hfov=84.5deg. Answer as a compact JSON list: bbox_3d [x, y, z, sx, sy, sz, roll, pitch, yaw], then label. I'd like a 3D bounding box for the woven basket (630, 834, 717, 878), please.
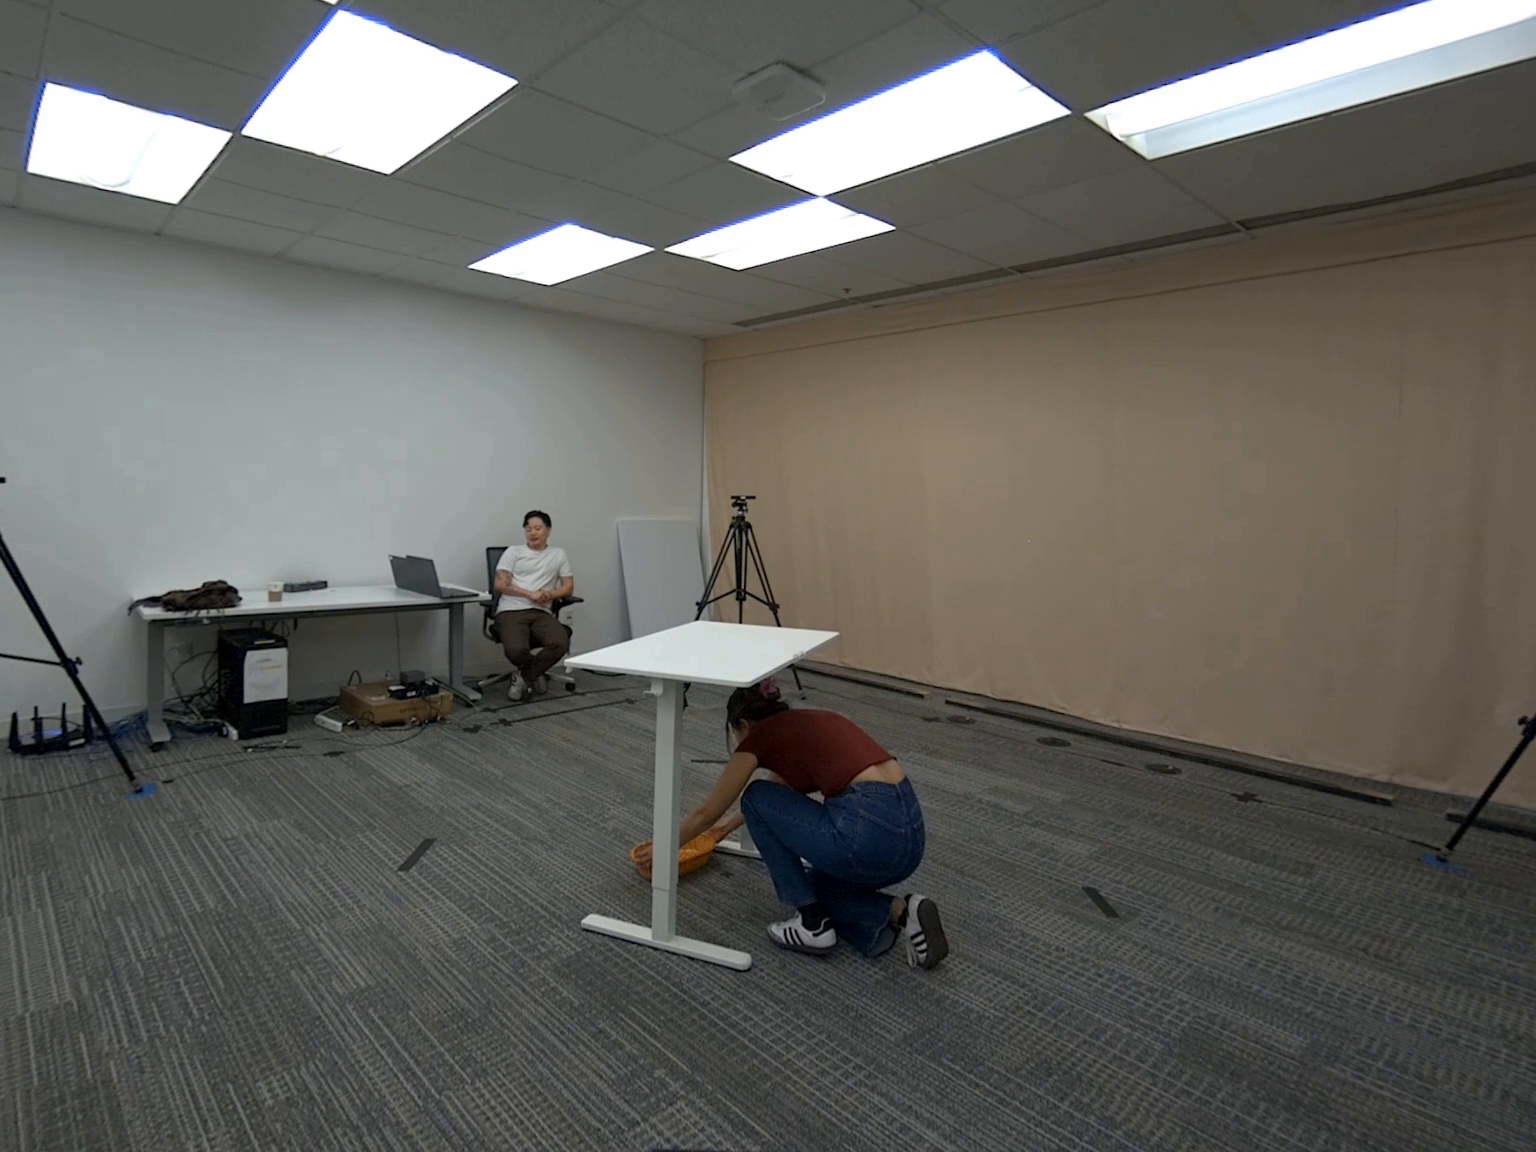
[{"bbox_3d":[-0.355,1.042,3.164,0.259,0.073,0.343,5,8,44],"label":"woven basket"}]
